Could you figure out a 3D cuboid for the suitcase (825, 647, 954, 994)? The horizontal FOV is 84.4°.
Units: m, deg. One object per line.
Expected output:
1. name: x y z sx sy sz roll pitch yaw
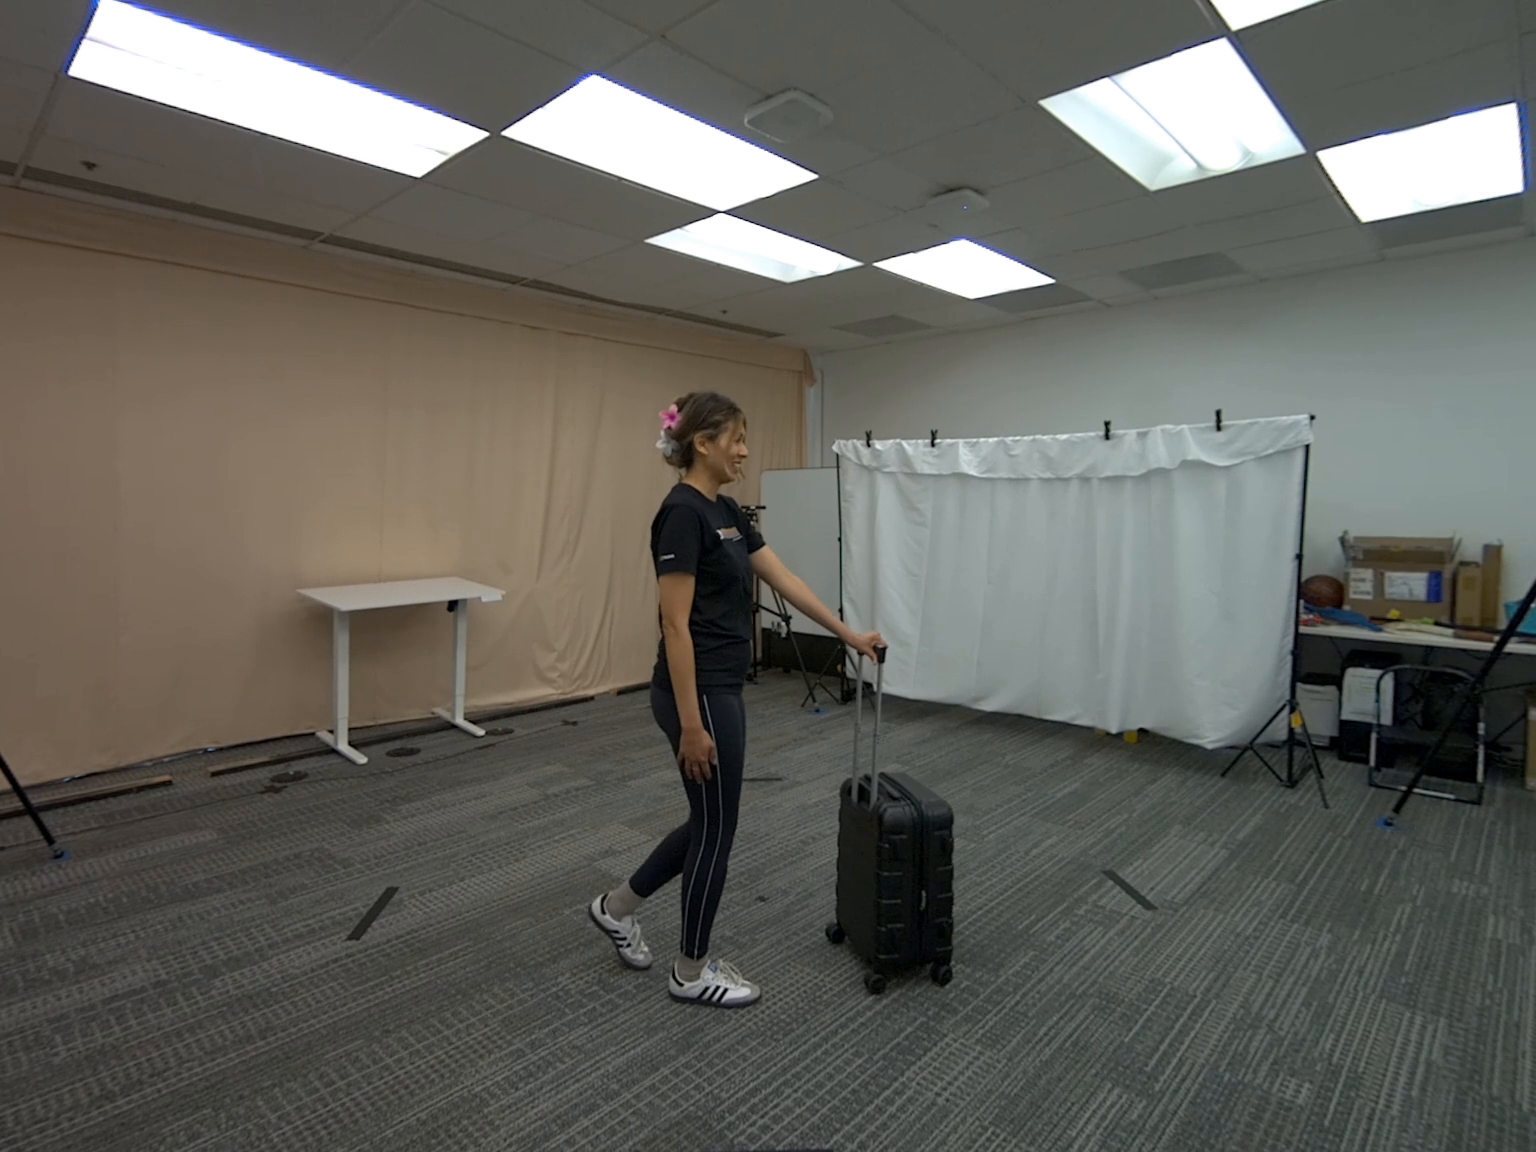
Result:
1. suitcase: 0.402 0.701 2.570 0.253 0.978 0.390 2 2 -14
